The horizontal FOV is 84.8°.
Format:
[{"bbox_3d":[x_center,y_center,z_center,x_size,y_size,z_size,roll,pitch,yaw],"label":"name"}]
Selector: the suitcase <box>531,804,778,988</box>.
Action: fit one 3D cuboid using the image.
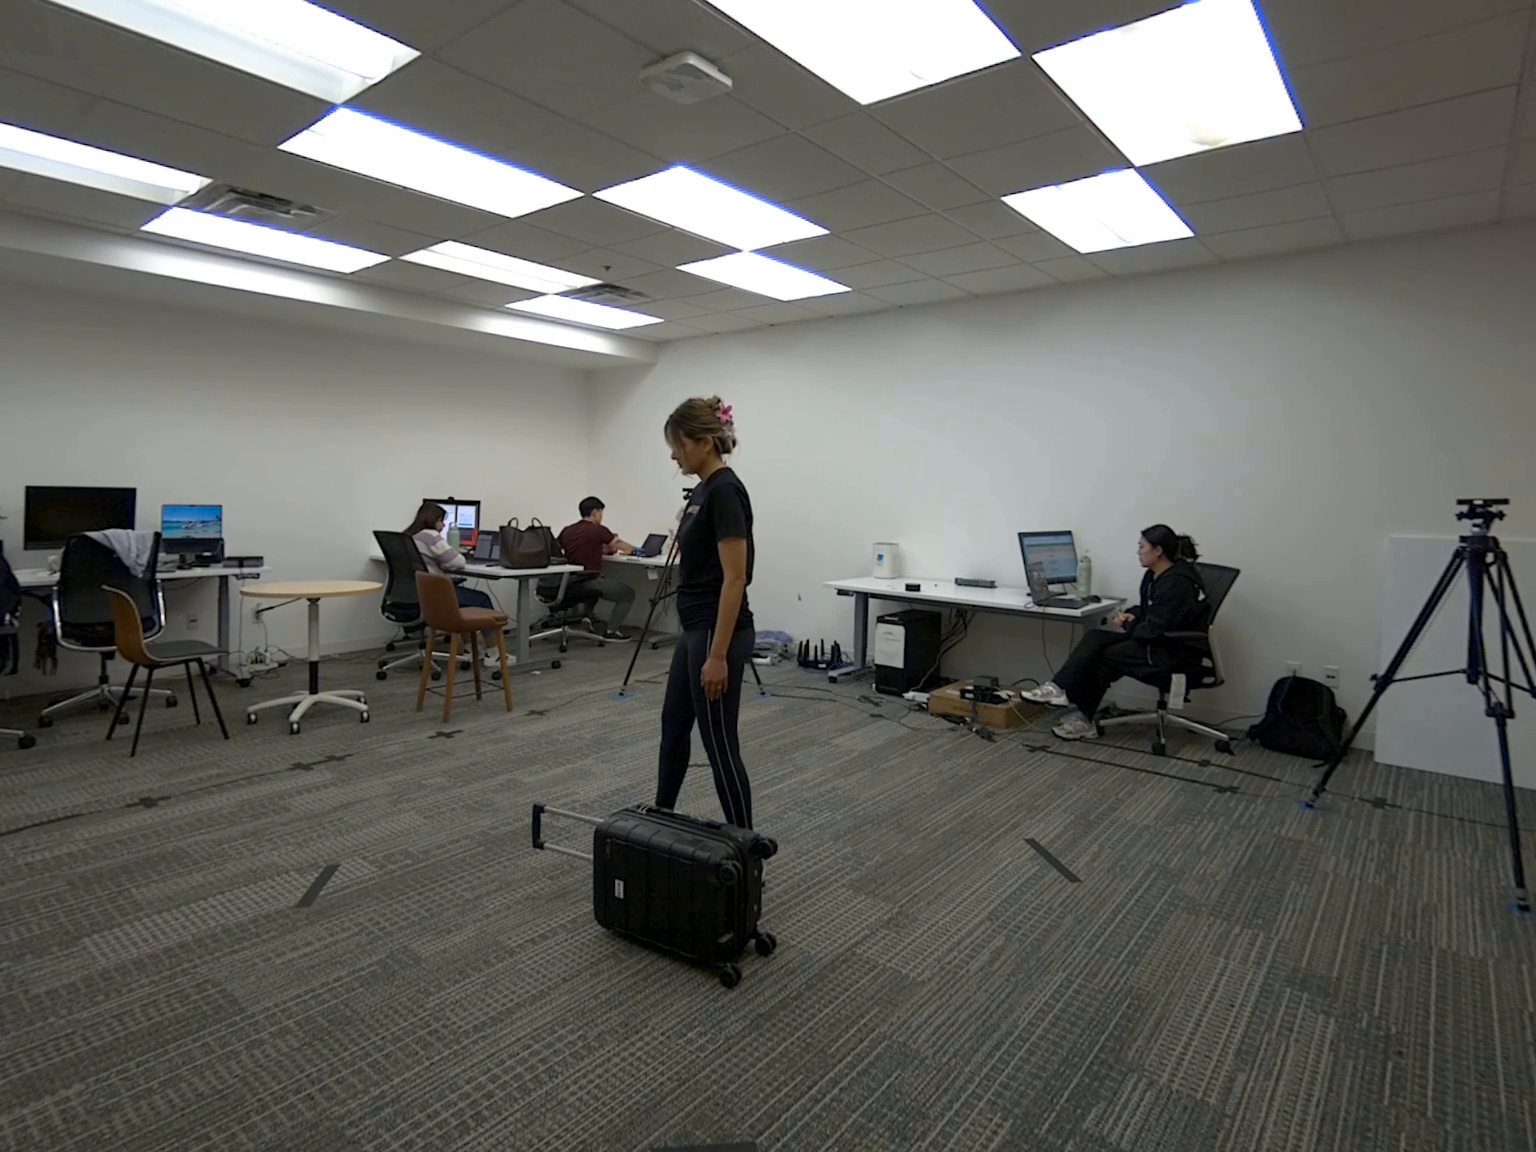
[{"bbox_3d":[-0.459,0.919,2.699,1.008,0.383,0.250,4,4,30],"label":"suitcase"}]
